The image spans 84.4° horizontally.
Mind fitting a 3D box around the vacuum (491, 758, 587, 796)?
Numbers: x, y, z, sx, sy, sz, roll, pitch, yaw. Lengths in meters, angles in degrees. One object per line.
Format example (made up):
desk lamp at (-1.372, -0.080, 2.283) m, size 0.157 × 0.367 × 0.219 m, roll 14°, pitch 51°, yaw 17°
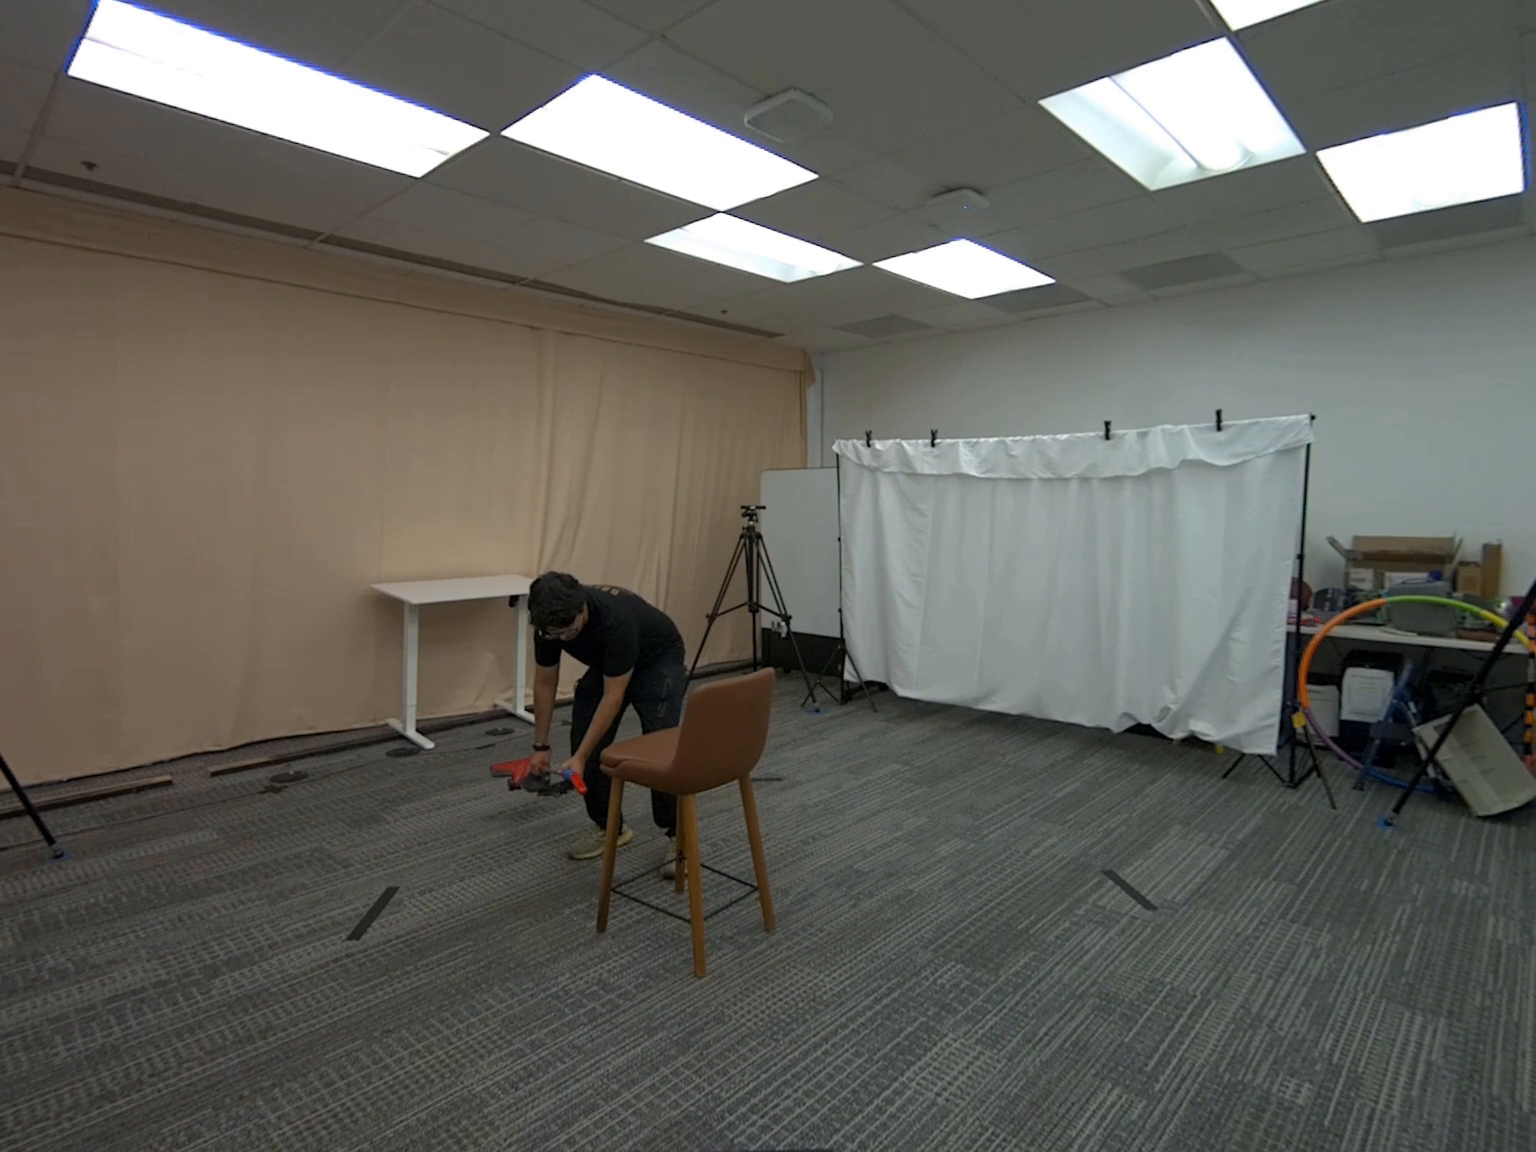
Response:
vacuum at (-0.891, 0.816, 3.313) m, size 0.247 × 0.145 × 1.068 m, roll -7°, pitch -5°, yaw -27°
